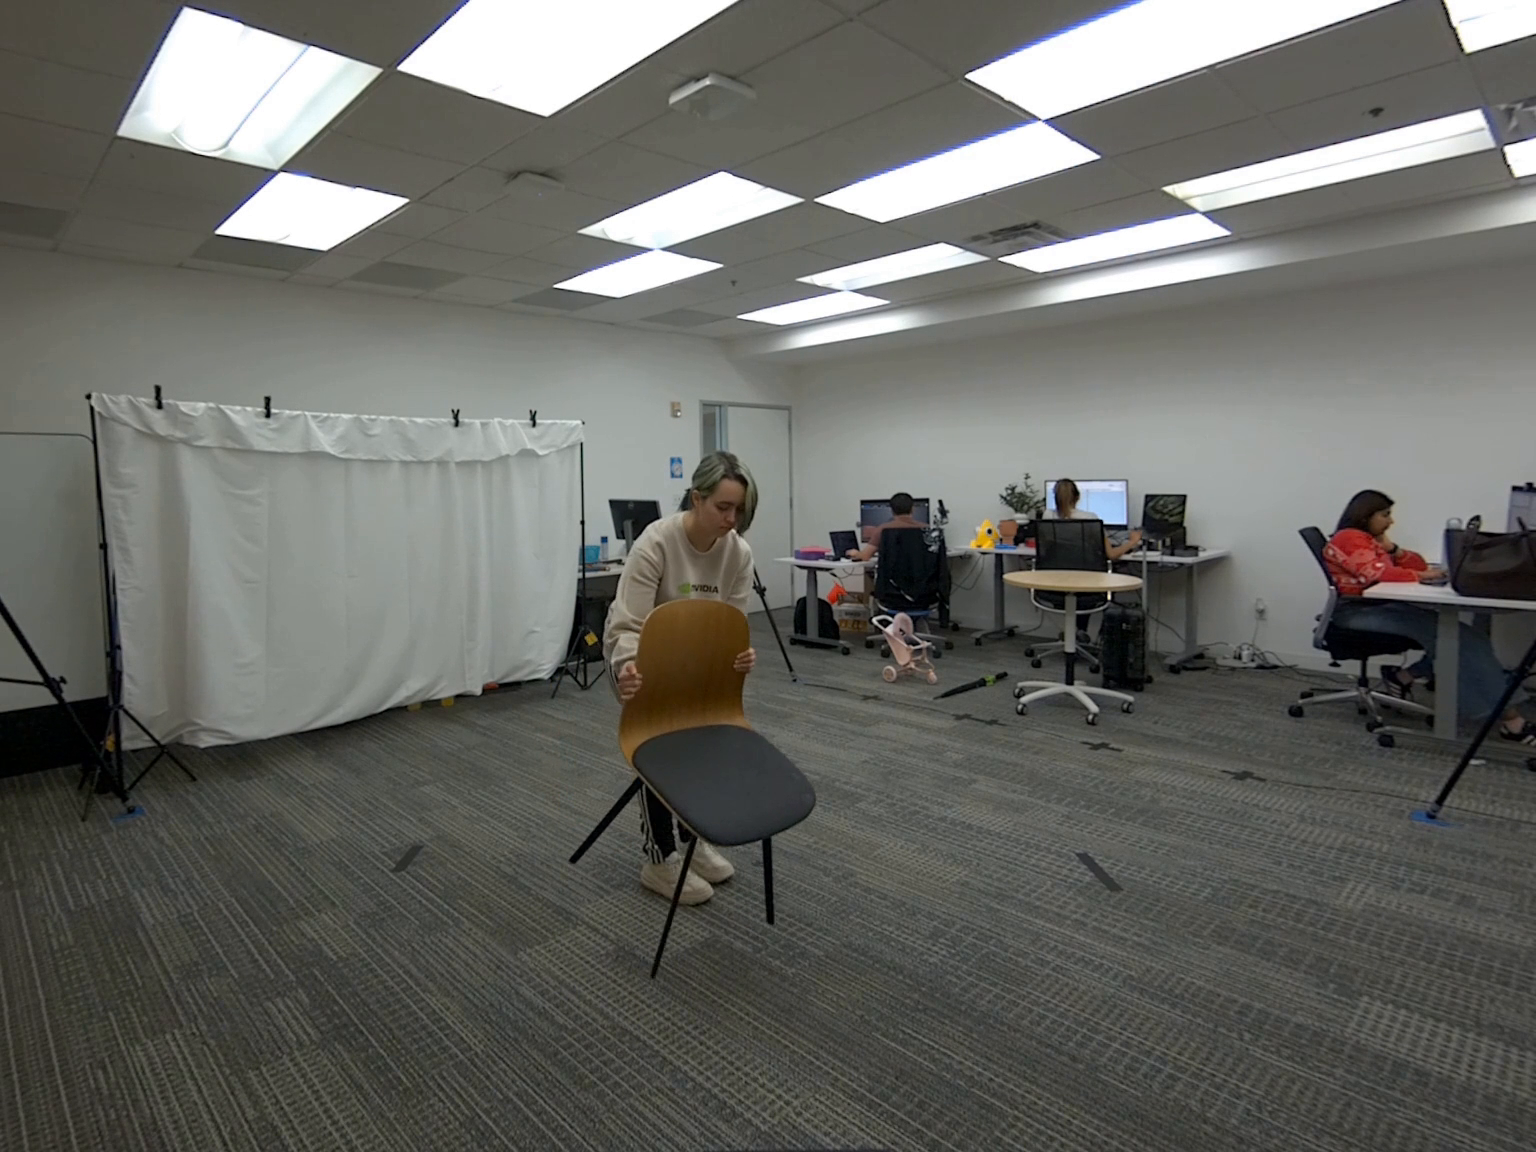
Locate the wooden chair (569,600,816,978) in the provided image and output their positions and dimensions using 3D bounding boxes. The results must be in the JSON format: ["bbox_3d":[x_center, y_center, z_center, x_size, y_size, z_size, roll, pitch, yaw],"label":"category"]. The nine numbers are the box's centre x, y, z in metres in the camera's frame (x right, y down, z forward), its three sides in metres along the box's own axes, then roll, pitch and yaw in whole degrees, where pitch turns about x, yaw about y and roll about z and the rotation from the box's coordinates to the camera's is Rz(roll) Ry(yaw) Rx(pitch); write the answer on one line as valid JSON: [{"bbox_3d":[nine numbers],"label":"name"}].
[{"bbox_3d":[-0.155,0.575,2.399,0.465,0.868,0.543,-2,22,-43],"label":"wooden chair"}]
